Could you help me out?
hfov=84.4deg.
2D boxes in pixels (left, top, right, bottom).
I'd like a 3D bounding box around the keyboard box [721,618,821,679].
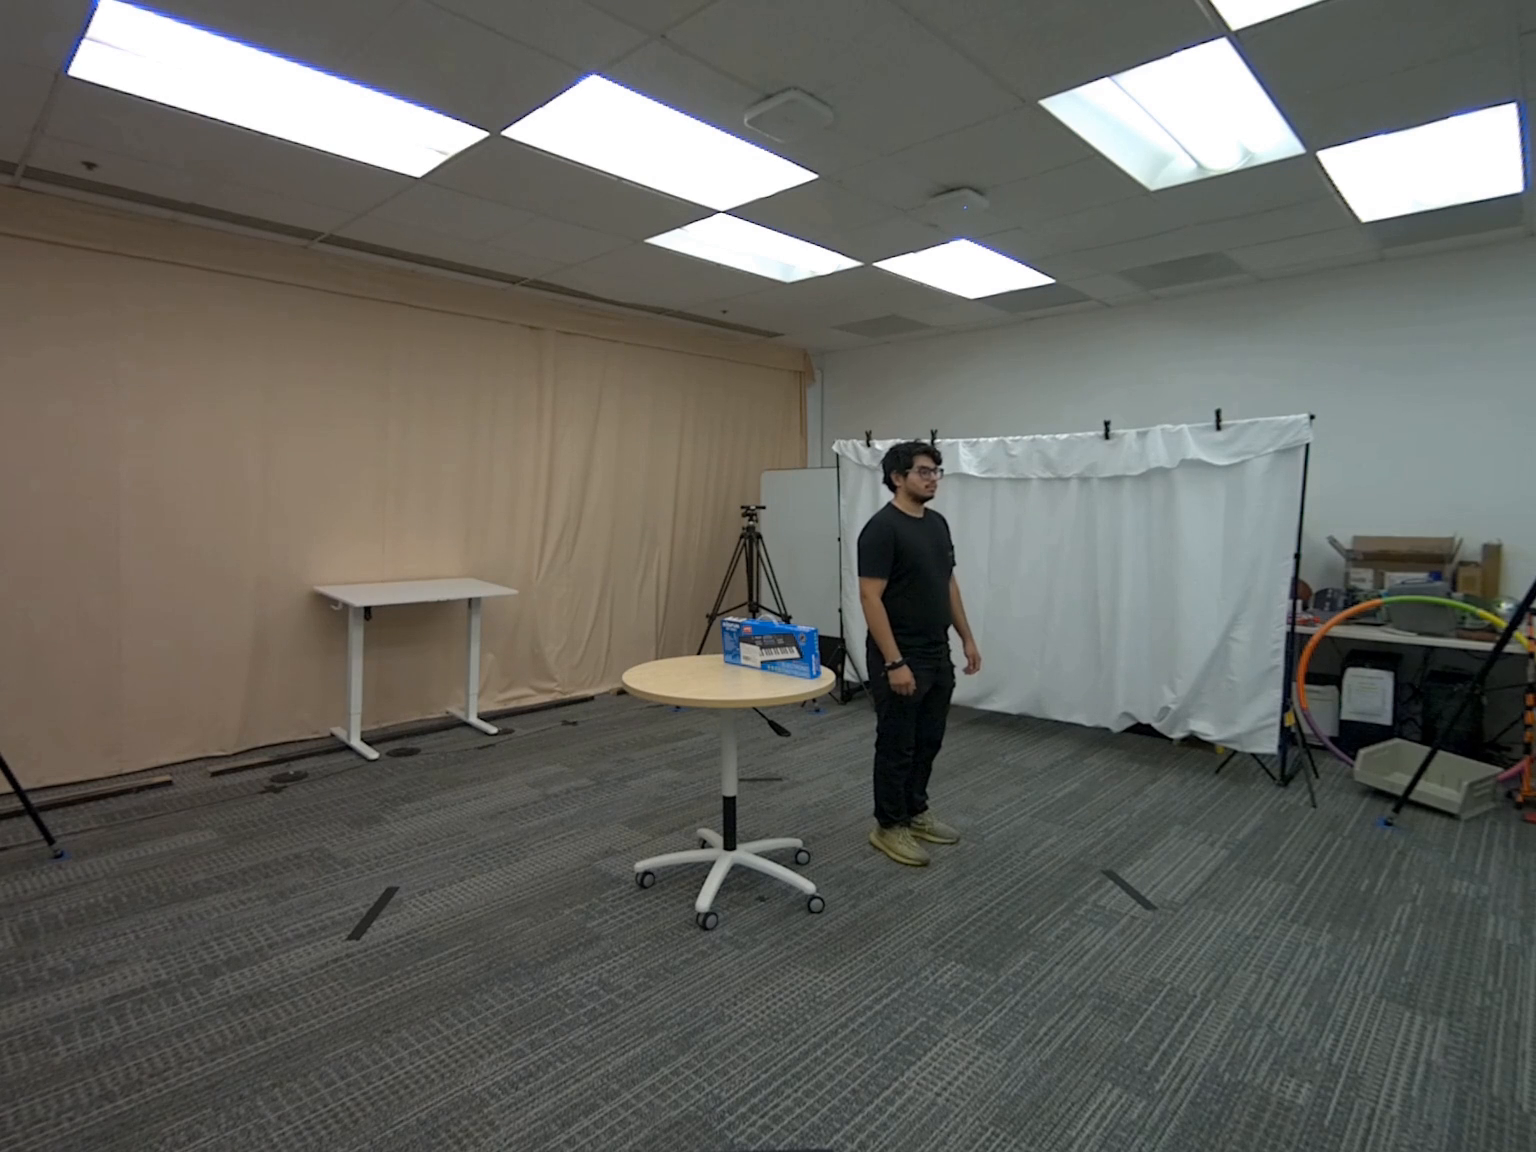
[{"bbox_3d":[0.006,0.261,3.110,0.452,0.175,0.057,5,11,44],"label":"keyboard box"}]
